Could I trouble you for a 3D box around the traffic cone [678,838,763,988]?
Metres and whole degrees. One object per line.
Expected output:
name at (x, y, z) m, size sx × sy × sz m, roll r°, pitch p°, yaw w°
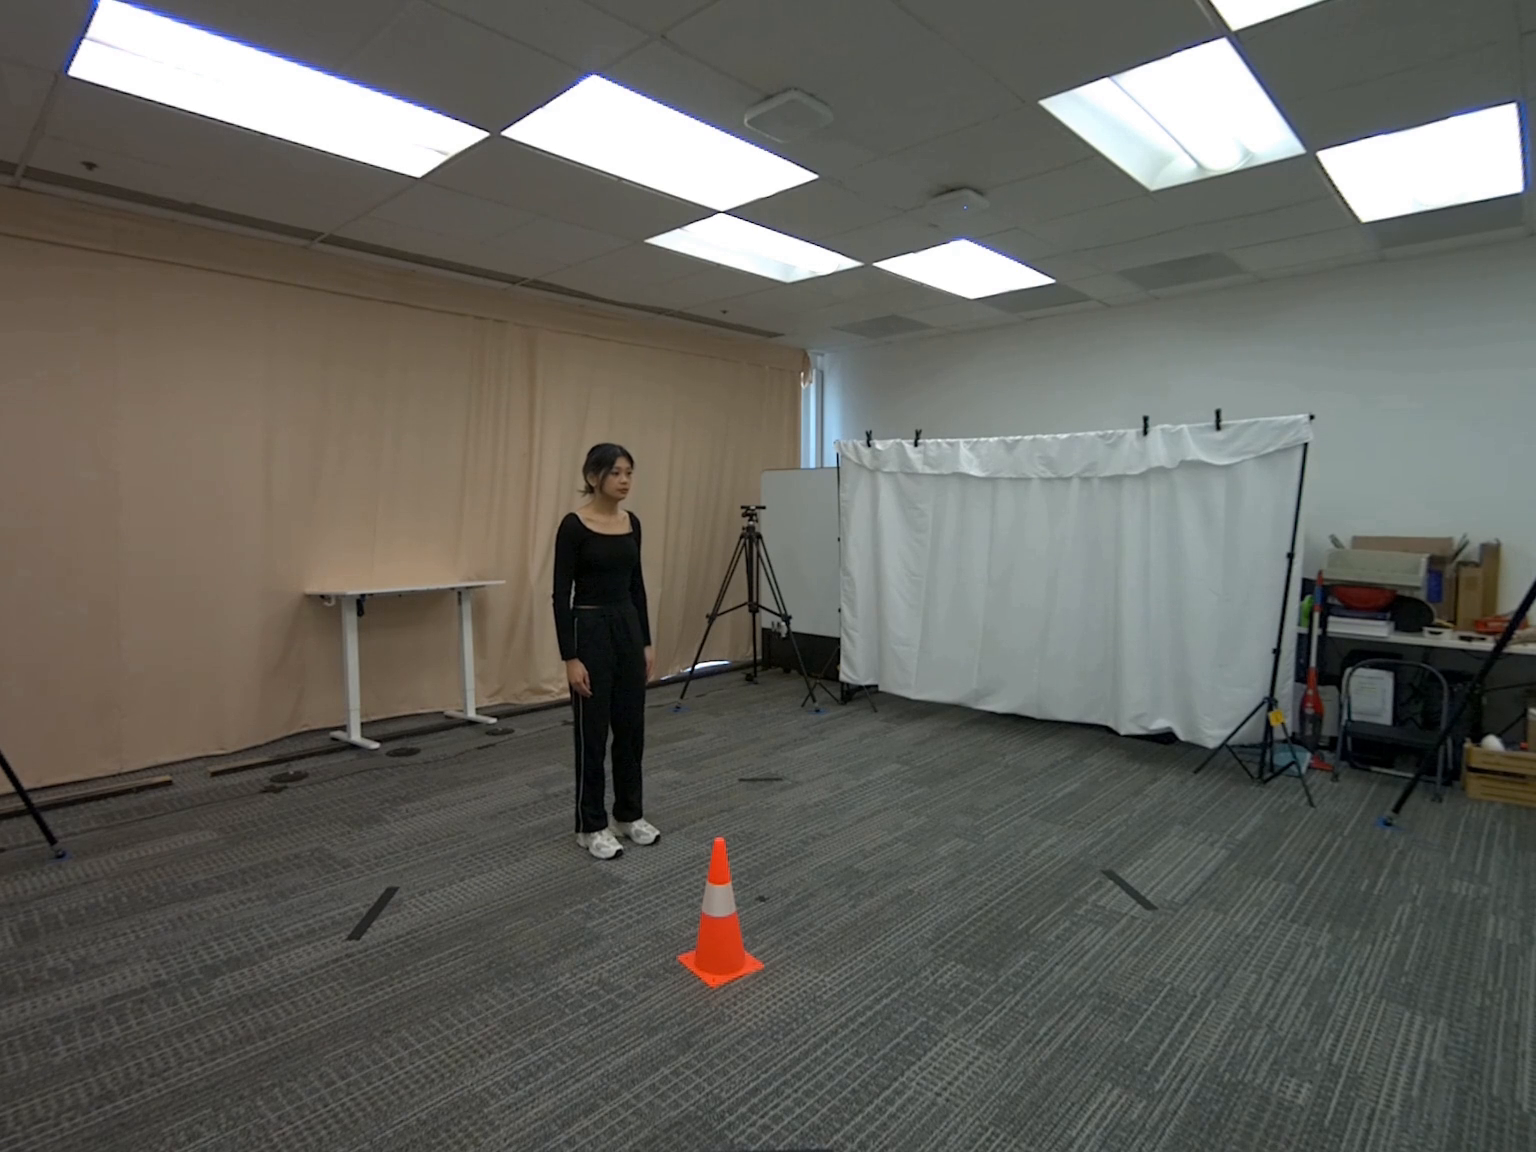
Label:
traffic cone at (-0.139, 0.995, 2.558) m, size 0.199 × 0.383 × 0.210 m, roll -2°, pitch 4°, yaw -36°
